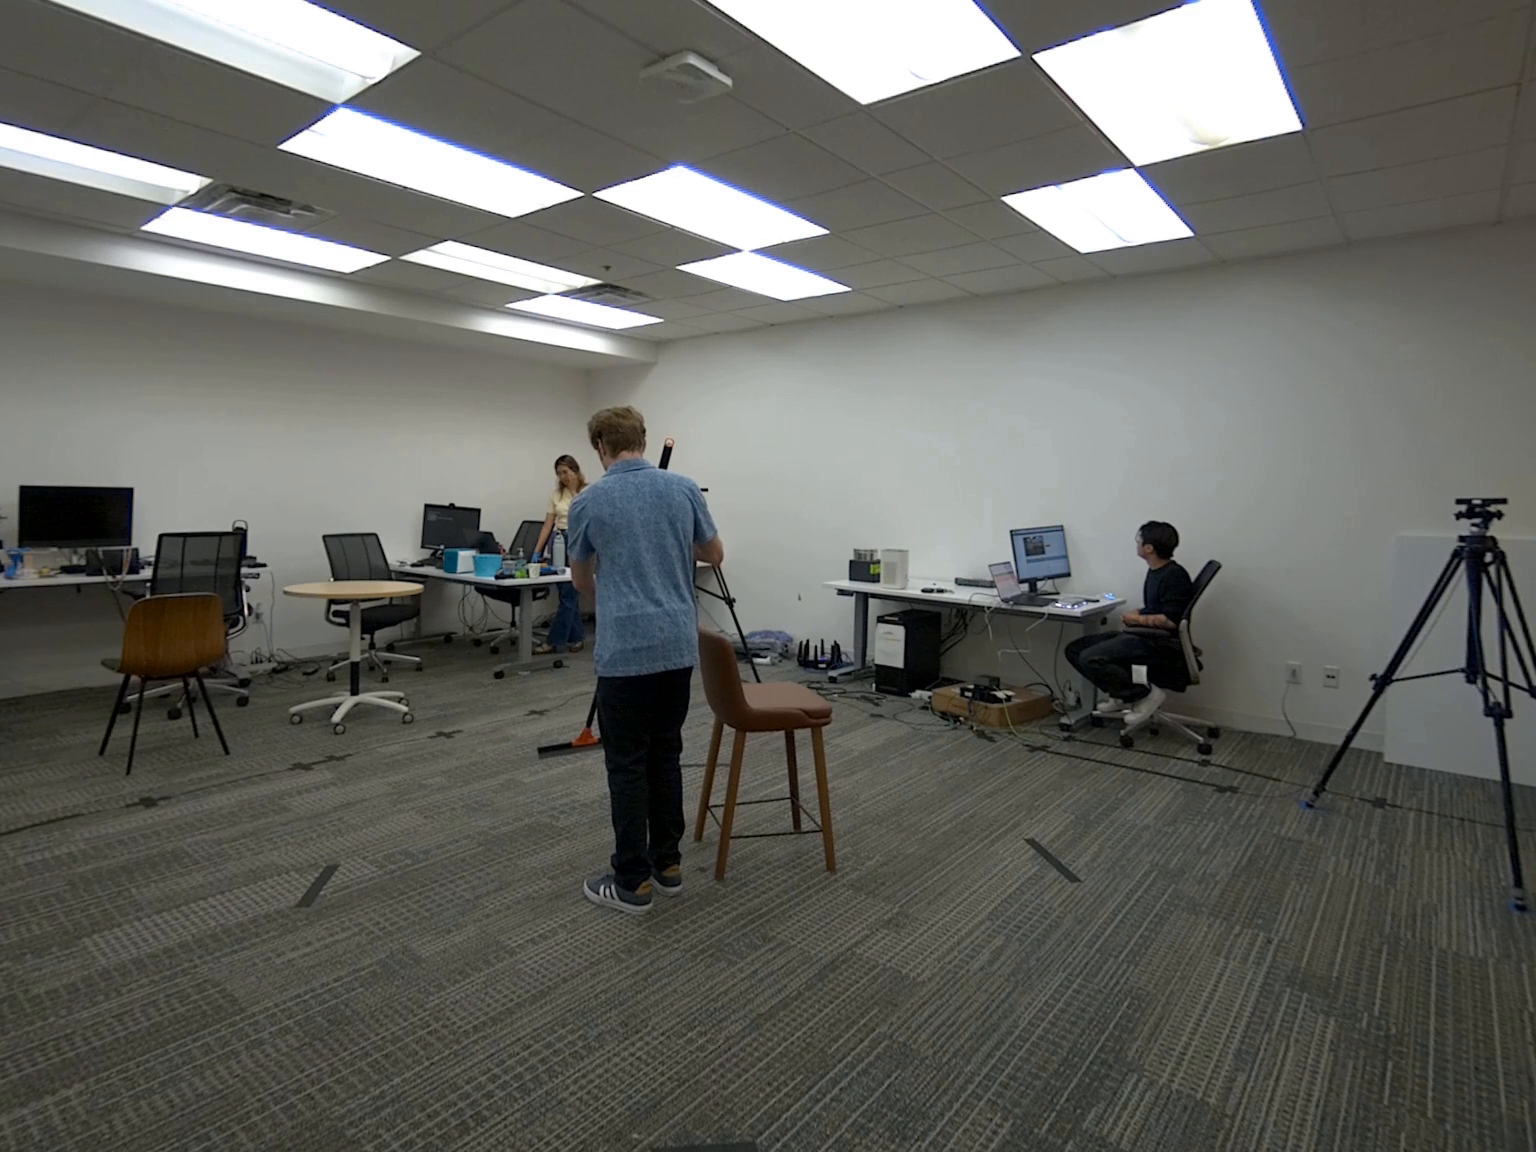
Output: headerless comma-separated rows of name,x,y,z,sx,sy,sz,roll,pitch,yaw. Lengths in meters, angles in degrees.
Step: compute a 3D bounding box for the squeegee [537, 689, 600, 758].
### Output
squeegee,-0.605,0.142,3.435,0.424,1.519,0.055,1,33,-36
